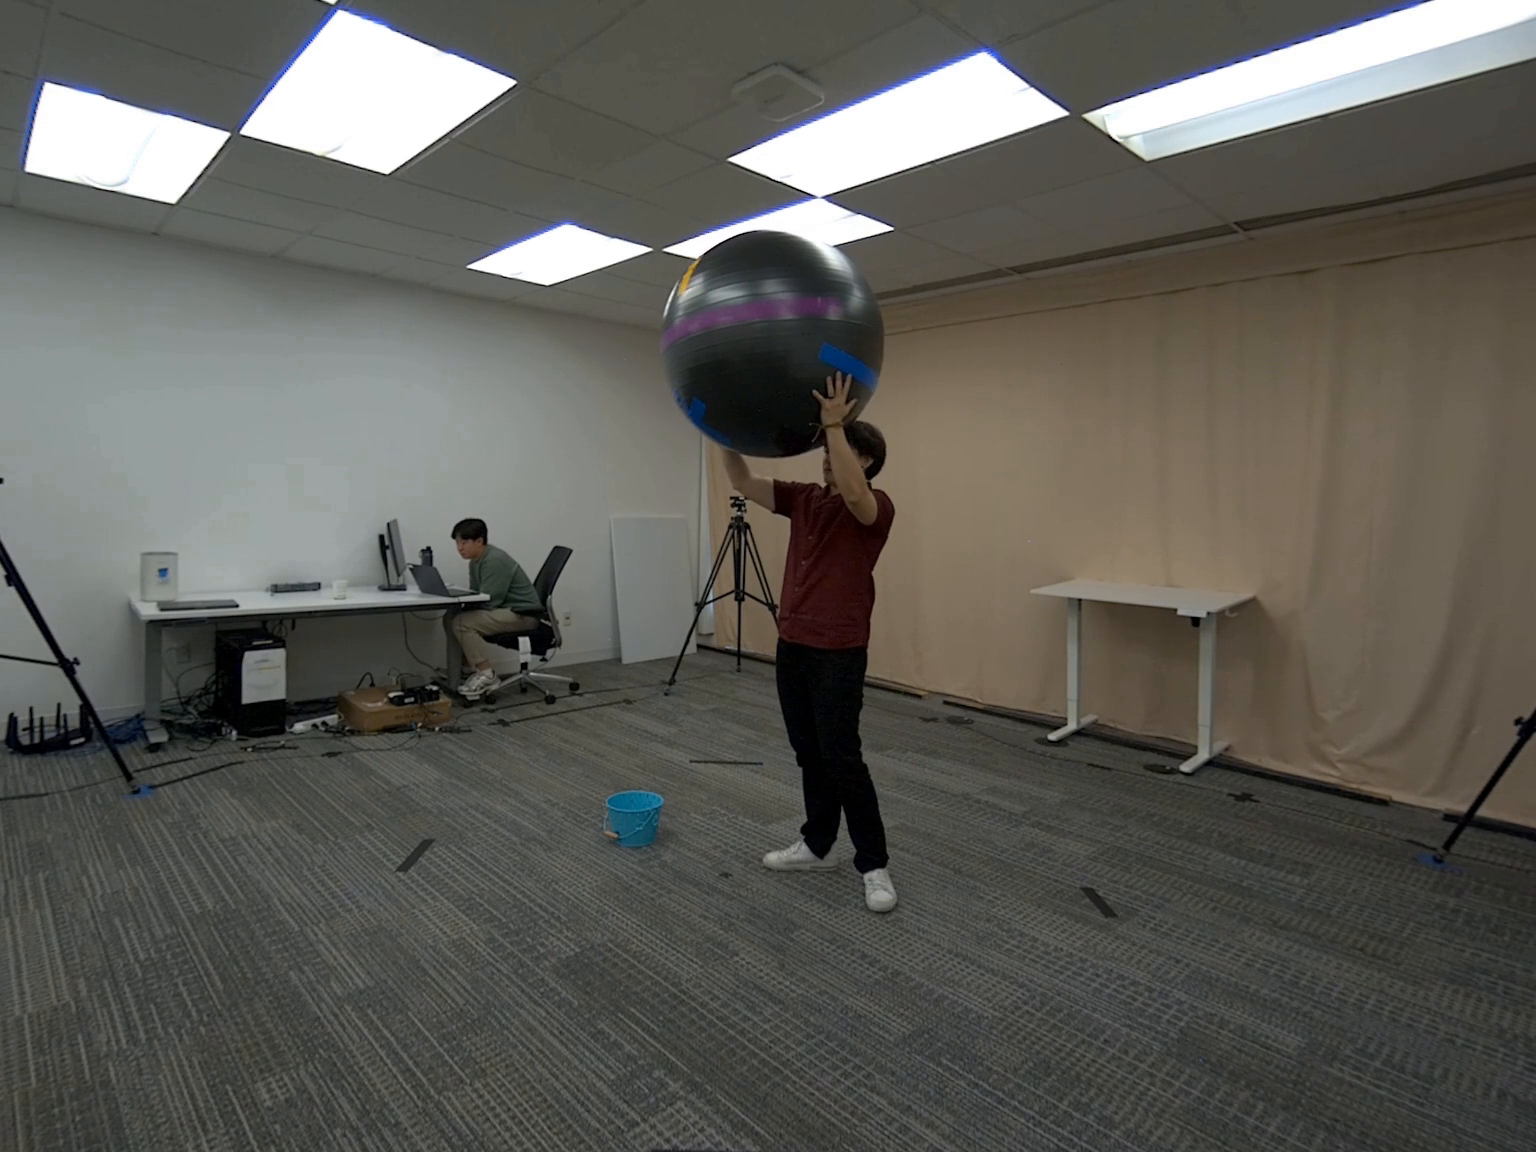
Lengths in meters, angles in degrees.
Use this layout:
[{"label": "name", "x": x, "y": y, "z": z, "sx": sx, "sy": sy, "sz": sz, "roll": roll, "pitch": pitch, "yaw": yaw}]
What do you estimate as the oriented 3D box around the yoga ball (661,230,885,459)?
[{"label": "yoga ball", "x": 0.017, "y": -0.778, "z": 2.860, "sx": 0.757, "sy": 0.756, "sz": 0.761, "roll": 1, "pitch": 4, "yaw": -1}]
